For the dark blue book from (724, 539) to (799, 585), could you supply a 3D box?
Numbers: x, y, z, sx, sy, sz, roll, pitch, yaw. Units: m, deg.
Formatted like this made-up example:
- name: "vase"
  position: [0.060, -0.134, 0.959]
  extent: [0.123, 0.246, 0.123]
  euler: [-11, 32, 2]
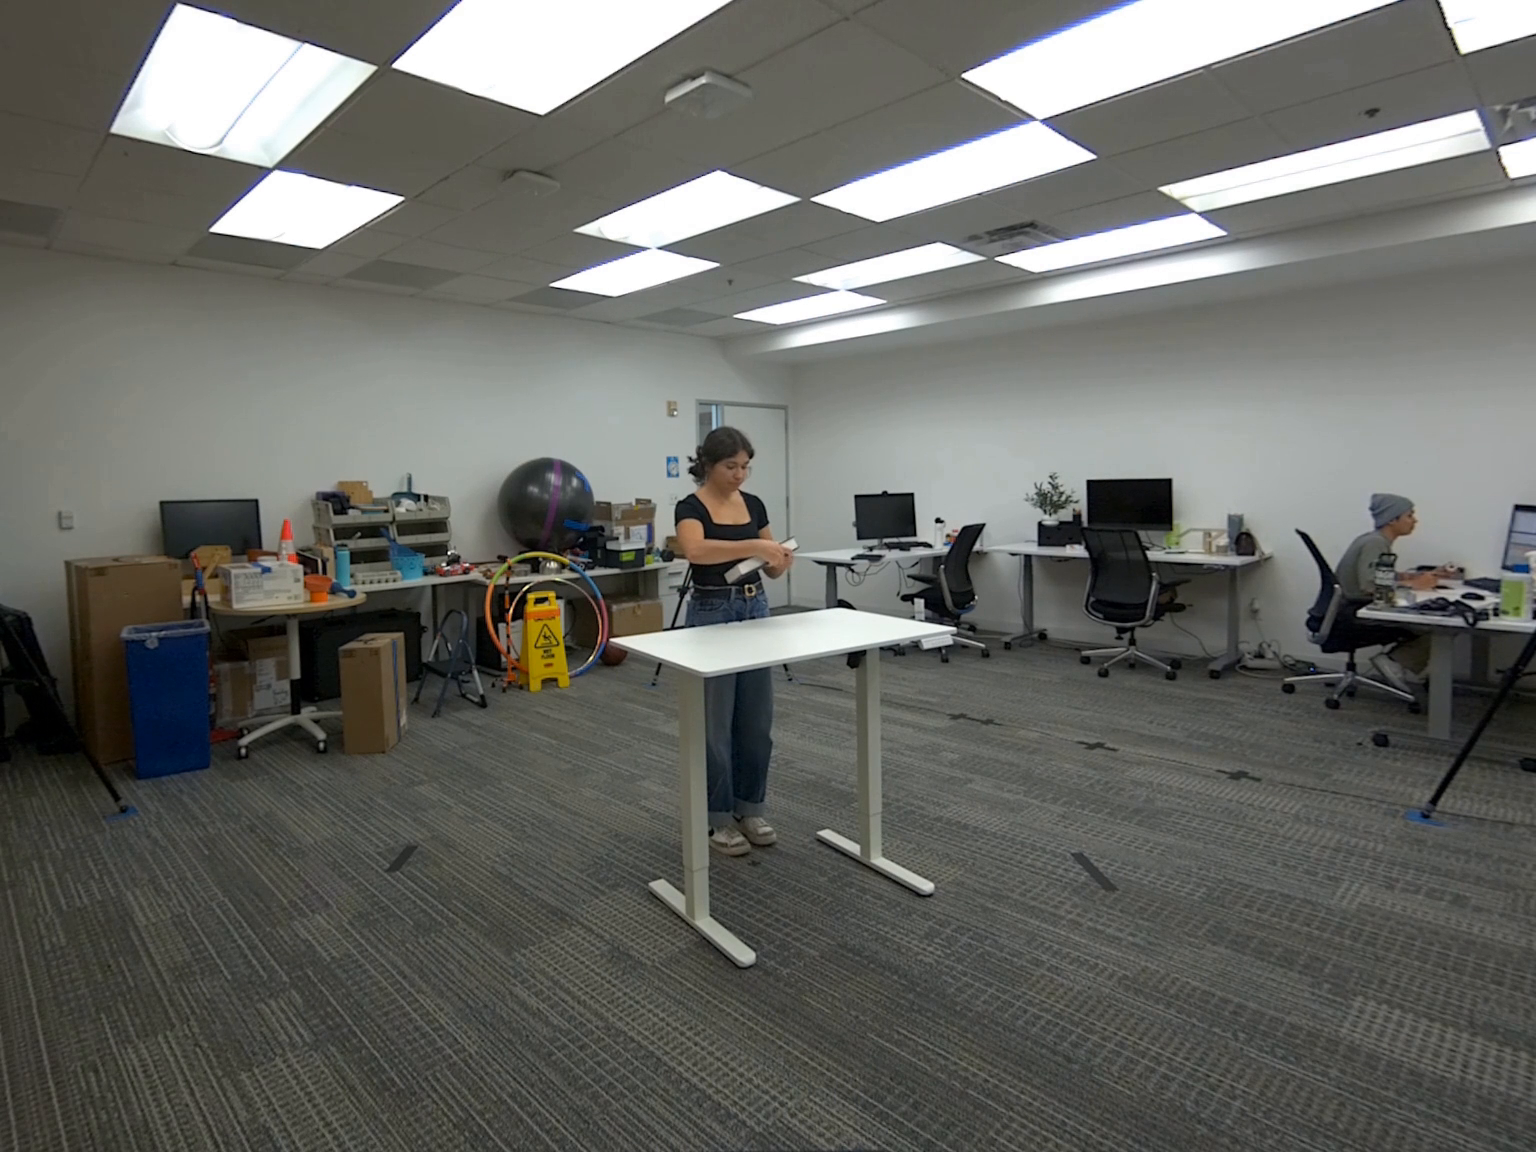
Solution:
- name: "dark blue book"
  position: [-0.038, -0.052, 3.028]
  extent: [0.242, 0.045, 0.164]
  euler: [-26, -3, -22]
